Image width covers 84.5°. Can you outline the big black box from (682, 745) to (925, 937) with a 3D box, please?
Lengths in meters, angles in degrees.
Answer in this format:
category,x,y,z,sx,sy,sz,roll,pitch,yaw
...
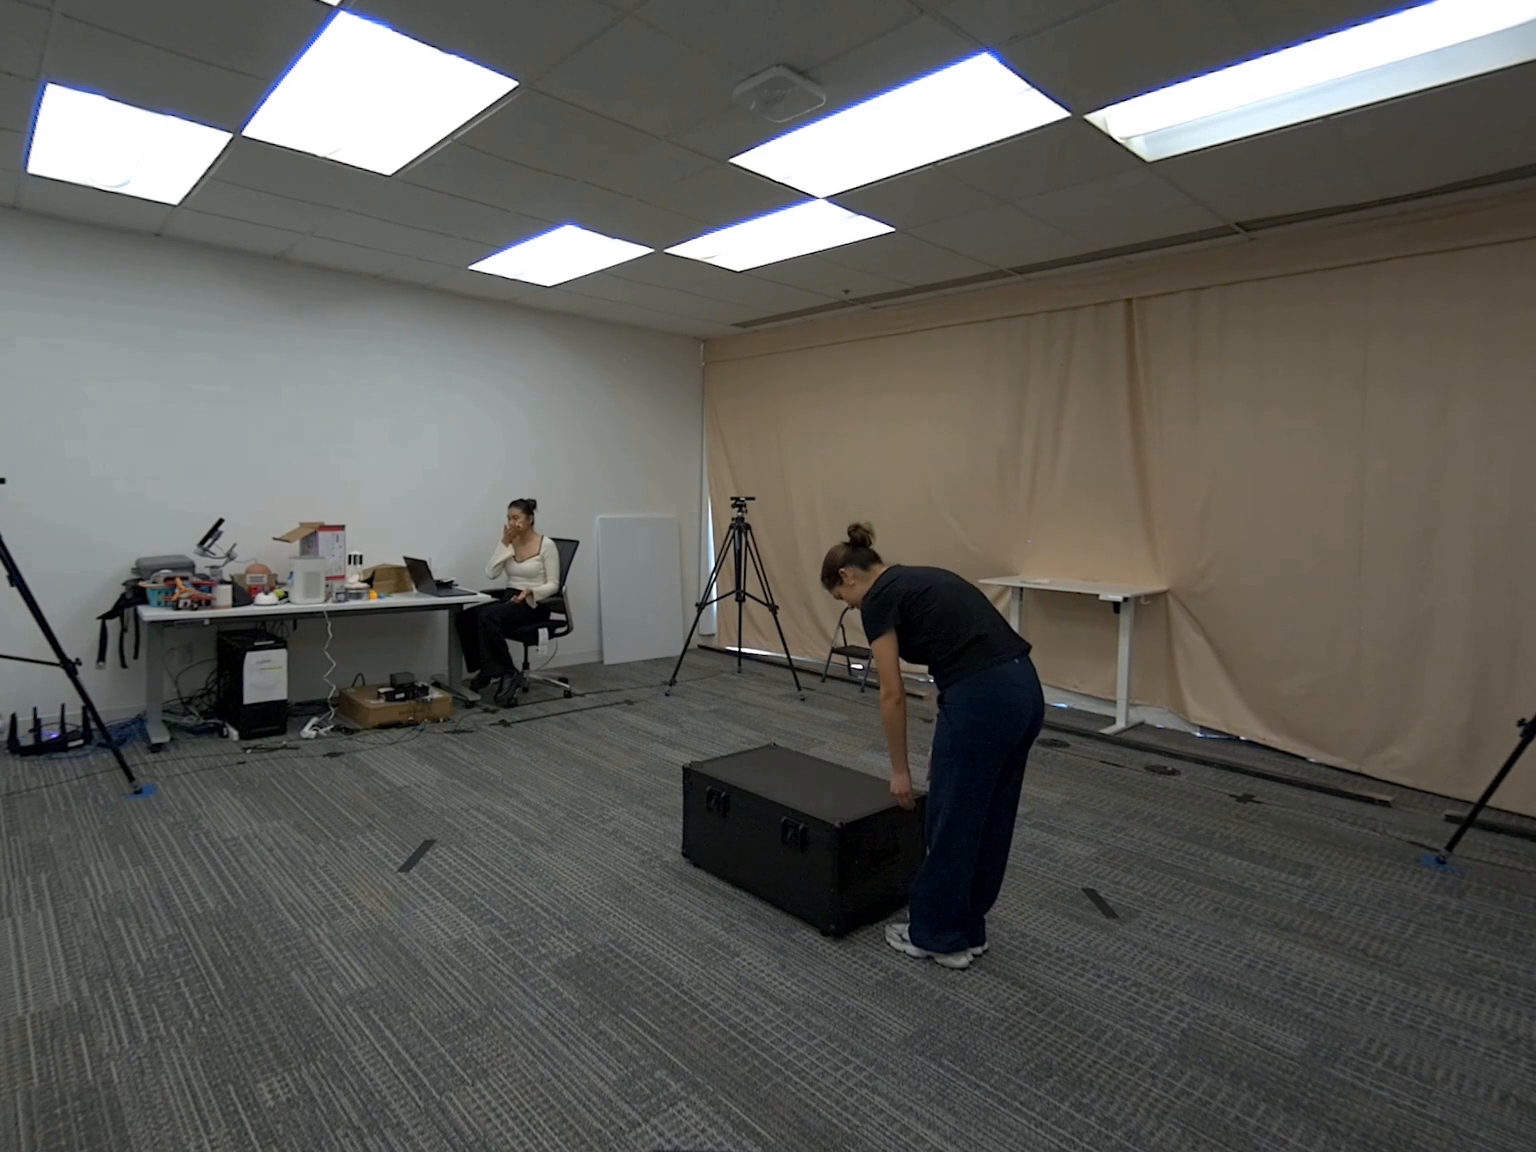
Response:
category,x,y,z,sx,sy,sz,roll,pitch,yaw
big black box,0.093,0.925,3.090,0.509,0.395,0.884,-2,7,-44
